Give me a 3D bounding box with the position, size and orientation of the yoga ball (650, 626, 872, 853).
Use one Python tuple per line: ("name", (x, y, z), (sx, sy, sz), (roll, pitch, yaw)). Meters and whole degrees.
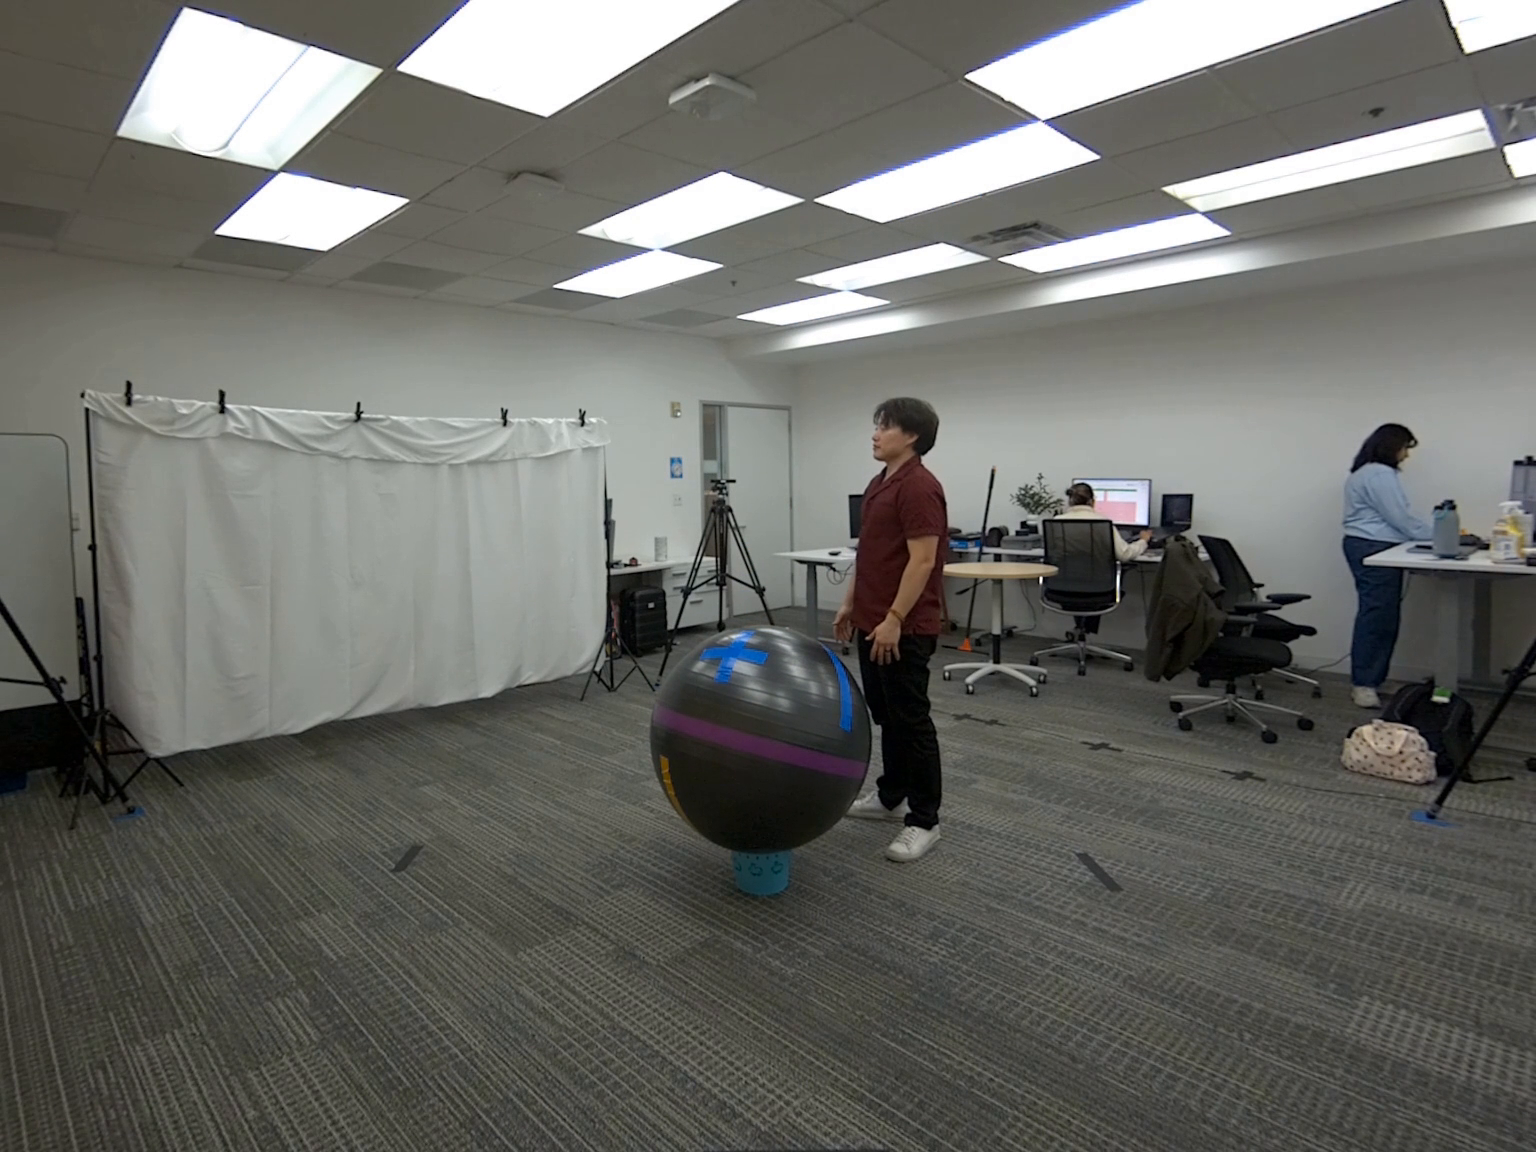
("yoga ball", (-0.028, 0.548, 2.948), (0.757, 0.755, 0.762), (-1, 5, -2))
